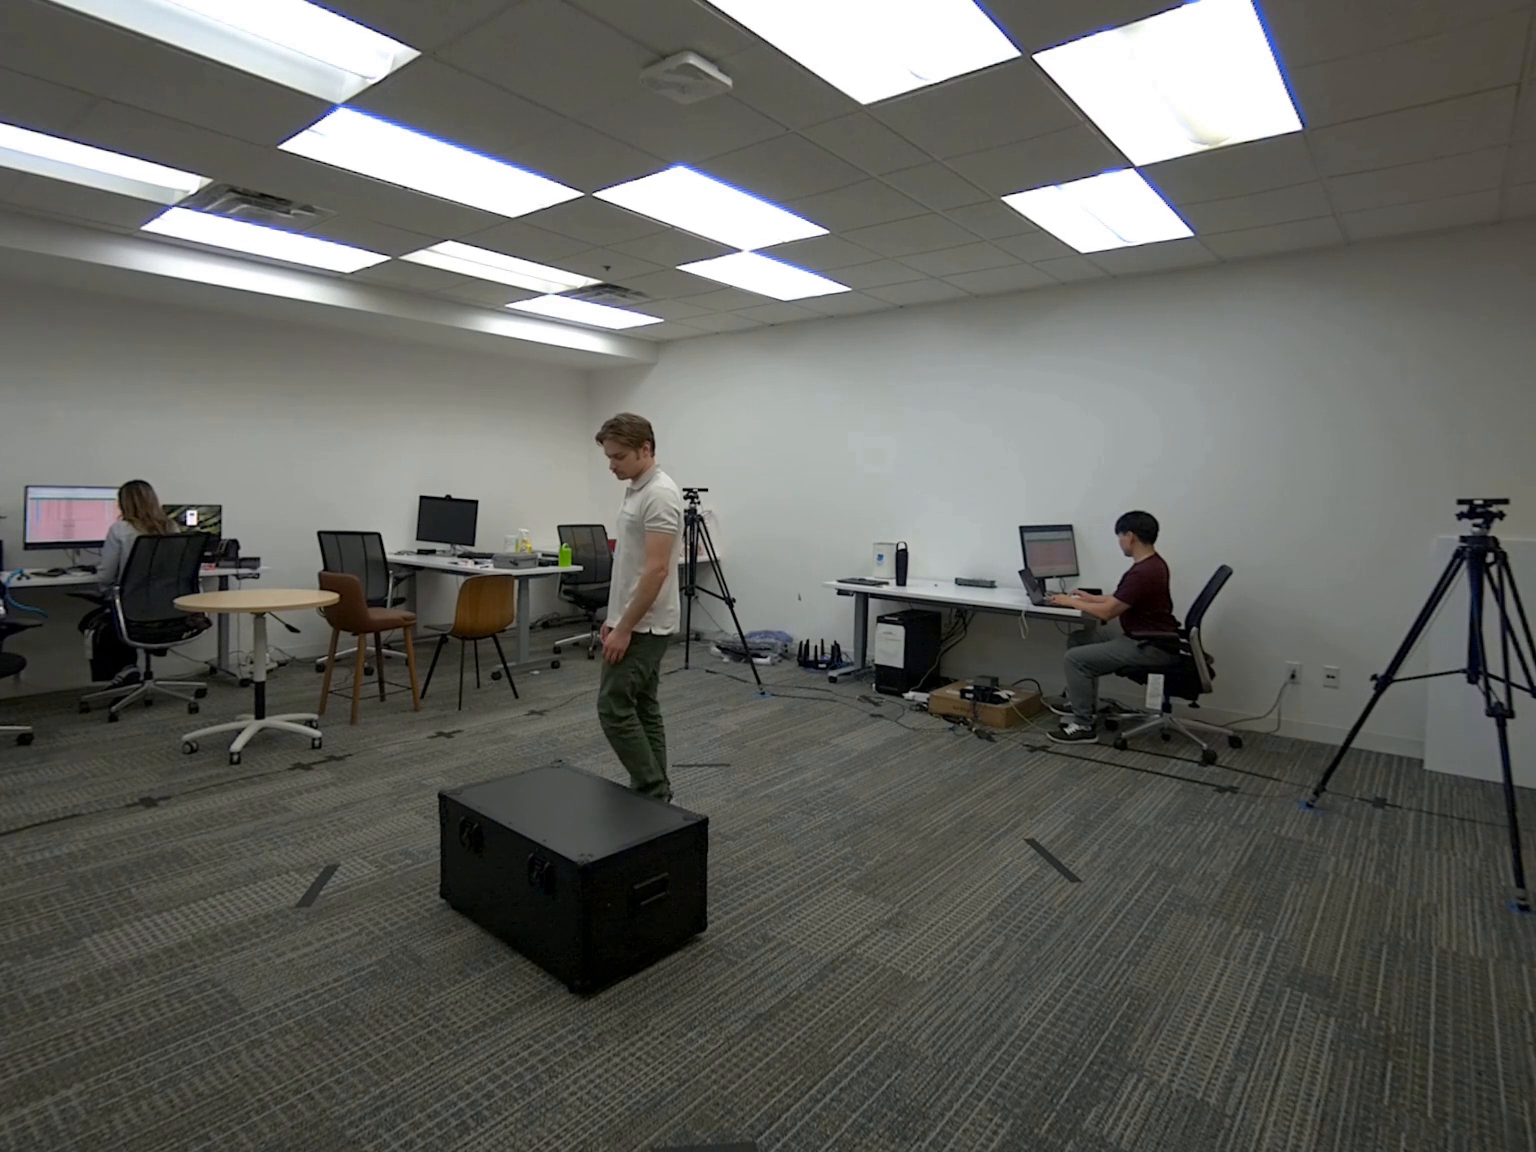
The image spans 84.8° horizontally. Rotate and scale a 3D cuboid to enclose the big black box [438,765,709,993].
[{"bbox_3d":[-0.667,0.908,2.739,0.891,0.395,0.506,6,7,41],"label":"big black box"}]
